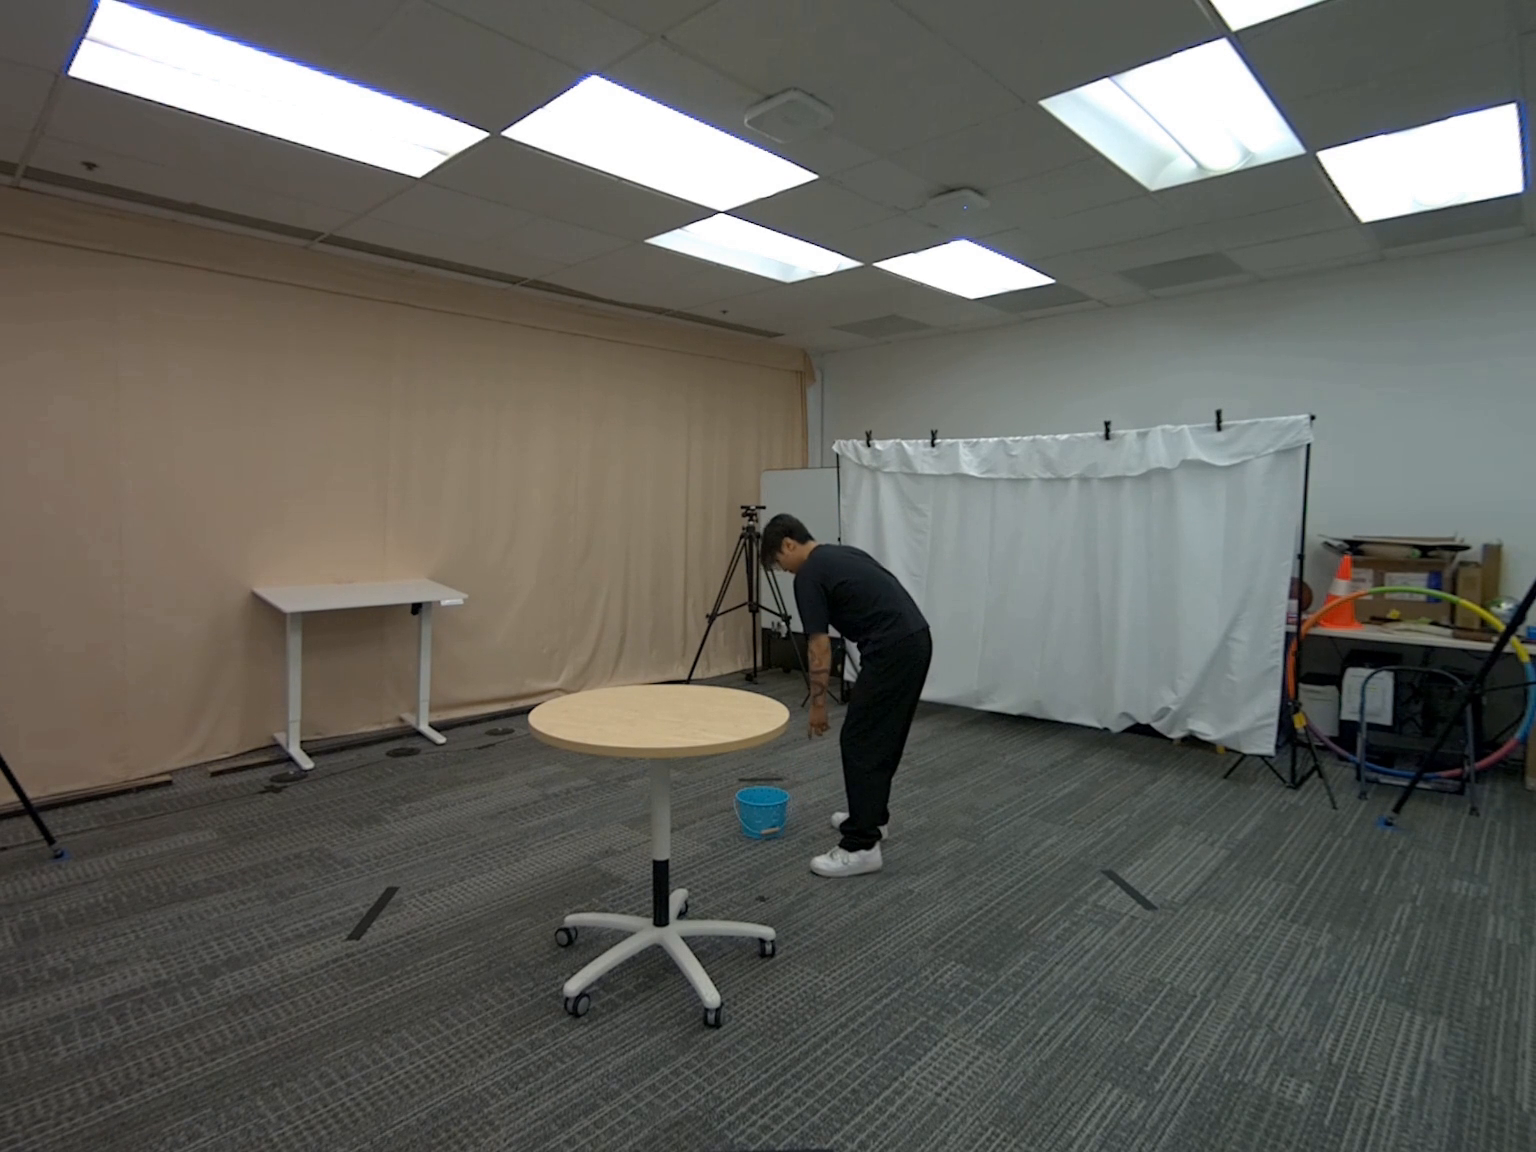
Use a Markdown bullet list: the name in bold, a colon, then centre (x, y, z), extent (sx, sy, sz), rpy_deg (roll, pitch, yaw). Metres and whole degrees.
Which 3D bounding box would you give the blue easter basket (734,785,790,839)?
- **blue easter basket**: centre (-0.025, 1.014, 3.609), extent (0.243, 0.155, 0.244), rpy_deg (-1, 4, -2)
